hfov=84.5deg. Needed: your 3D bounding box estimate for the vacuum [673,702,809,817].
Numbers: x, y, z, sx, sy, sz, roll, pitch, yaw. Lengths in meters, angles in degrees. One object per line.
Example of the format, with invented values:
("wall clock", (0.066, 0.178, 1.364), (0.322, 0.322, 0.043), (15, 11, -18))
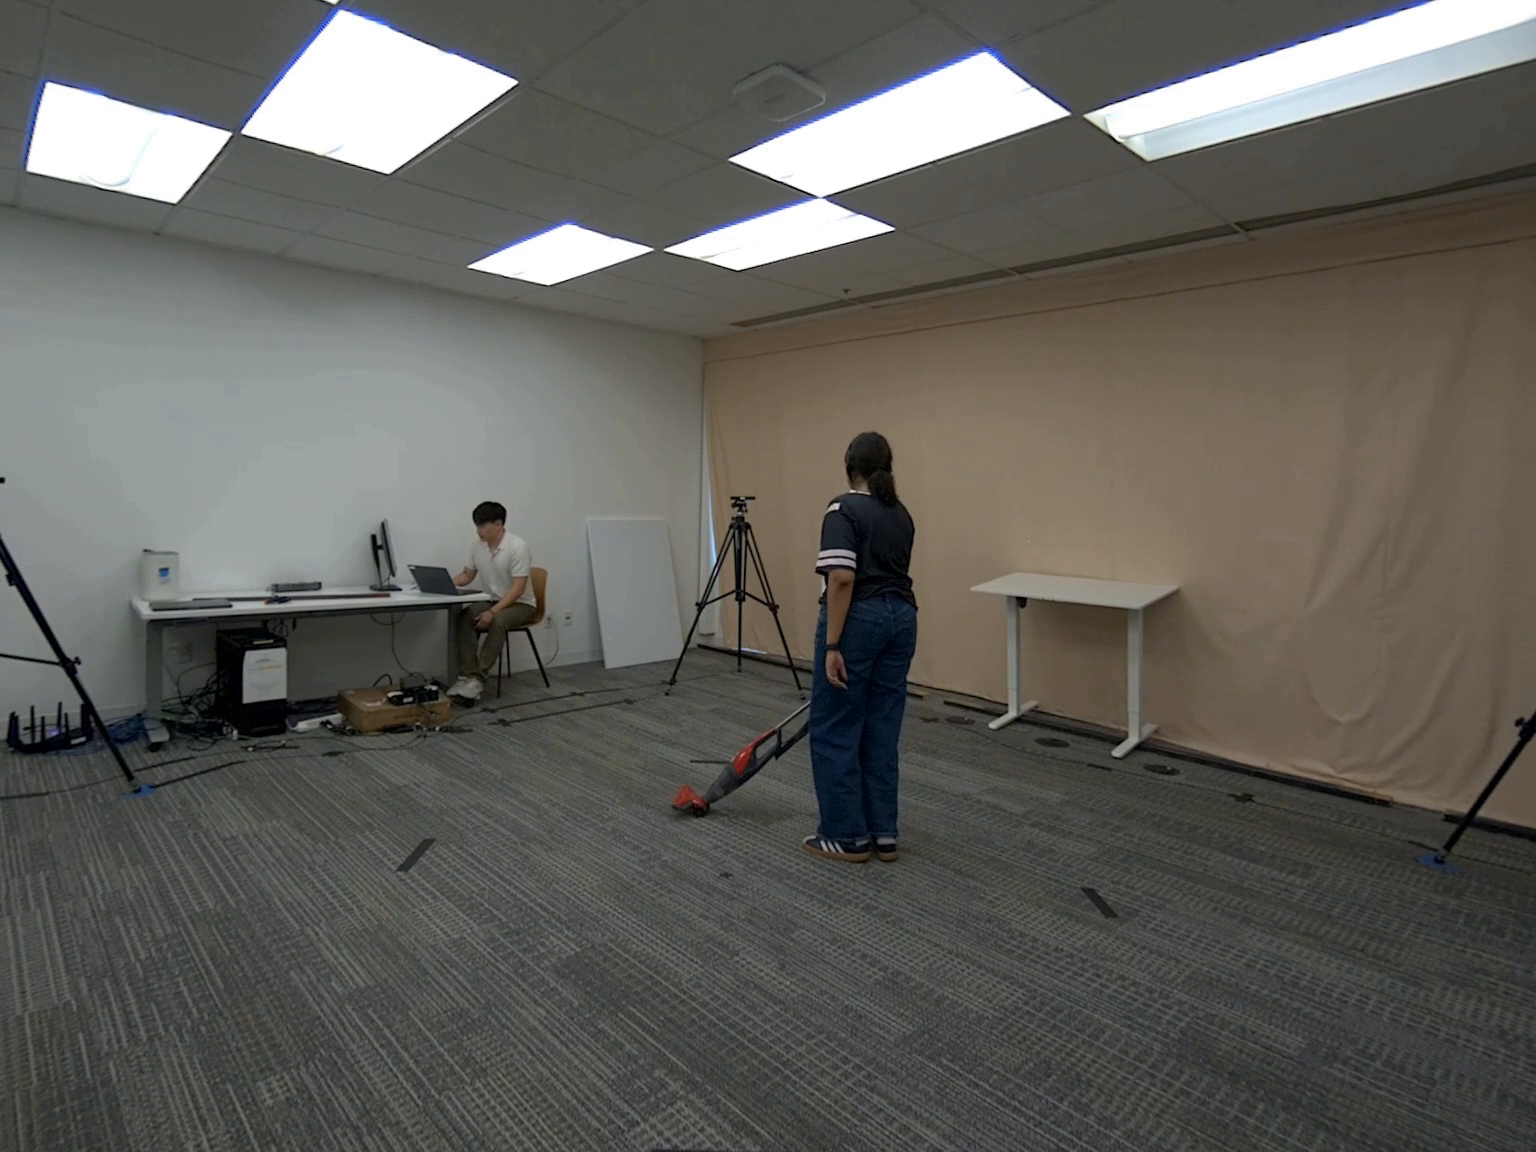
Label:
("vacuum", (0.059, 0.690, 3.645), (1.051, 0.144, 0.251), (-39, -2, 9))
